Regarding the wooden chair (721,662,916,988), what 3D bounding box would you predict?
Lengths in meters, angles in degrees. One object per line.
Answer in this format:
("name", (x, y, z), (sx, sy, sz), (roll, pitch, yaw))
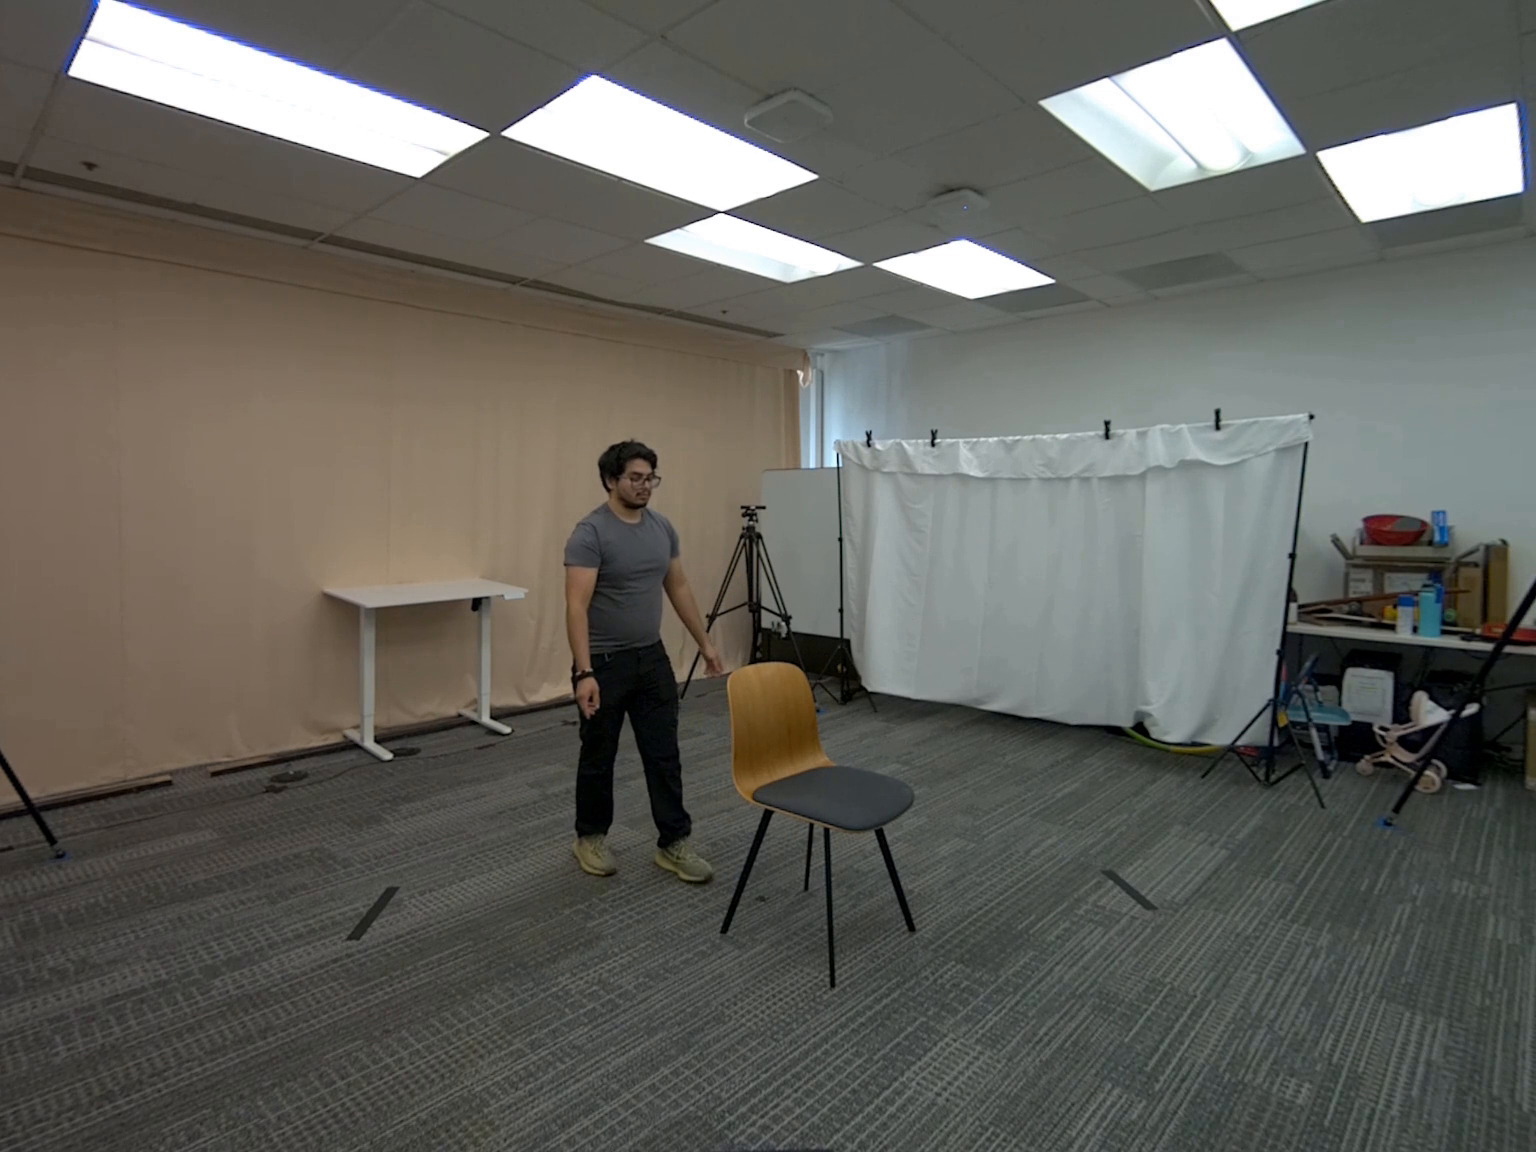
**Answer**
("wooden chair", (0.174, 0.740, 2.708), (0.539, 0.877, 0.463), (-3, 1, 43))
